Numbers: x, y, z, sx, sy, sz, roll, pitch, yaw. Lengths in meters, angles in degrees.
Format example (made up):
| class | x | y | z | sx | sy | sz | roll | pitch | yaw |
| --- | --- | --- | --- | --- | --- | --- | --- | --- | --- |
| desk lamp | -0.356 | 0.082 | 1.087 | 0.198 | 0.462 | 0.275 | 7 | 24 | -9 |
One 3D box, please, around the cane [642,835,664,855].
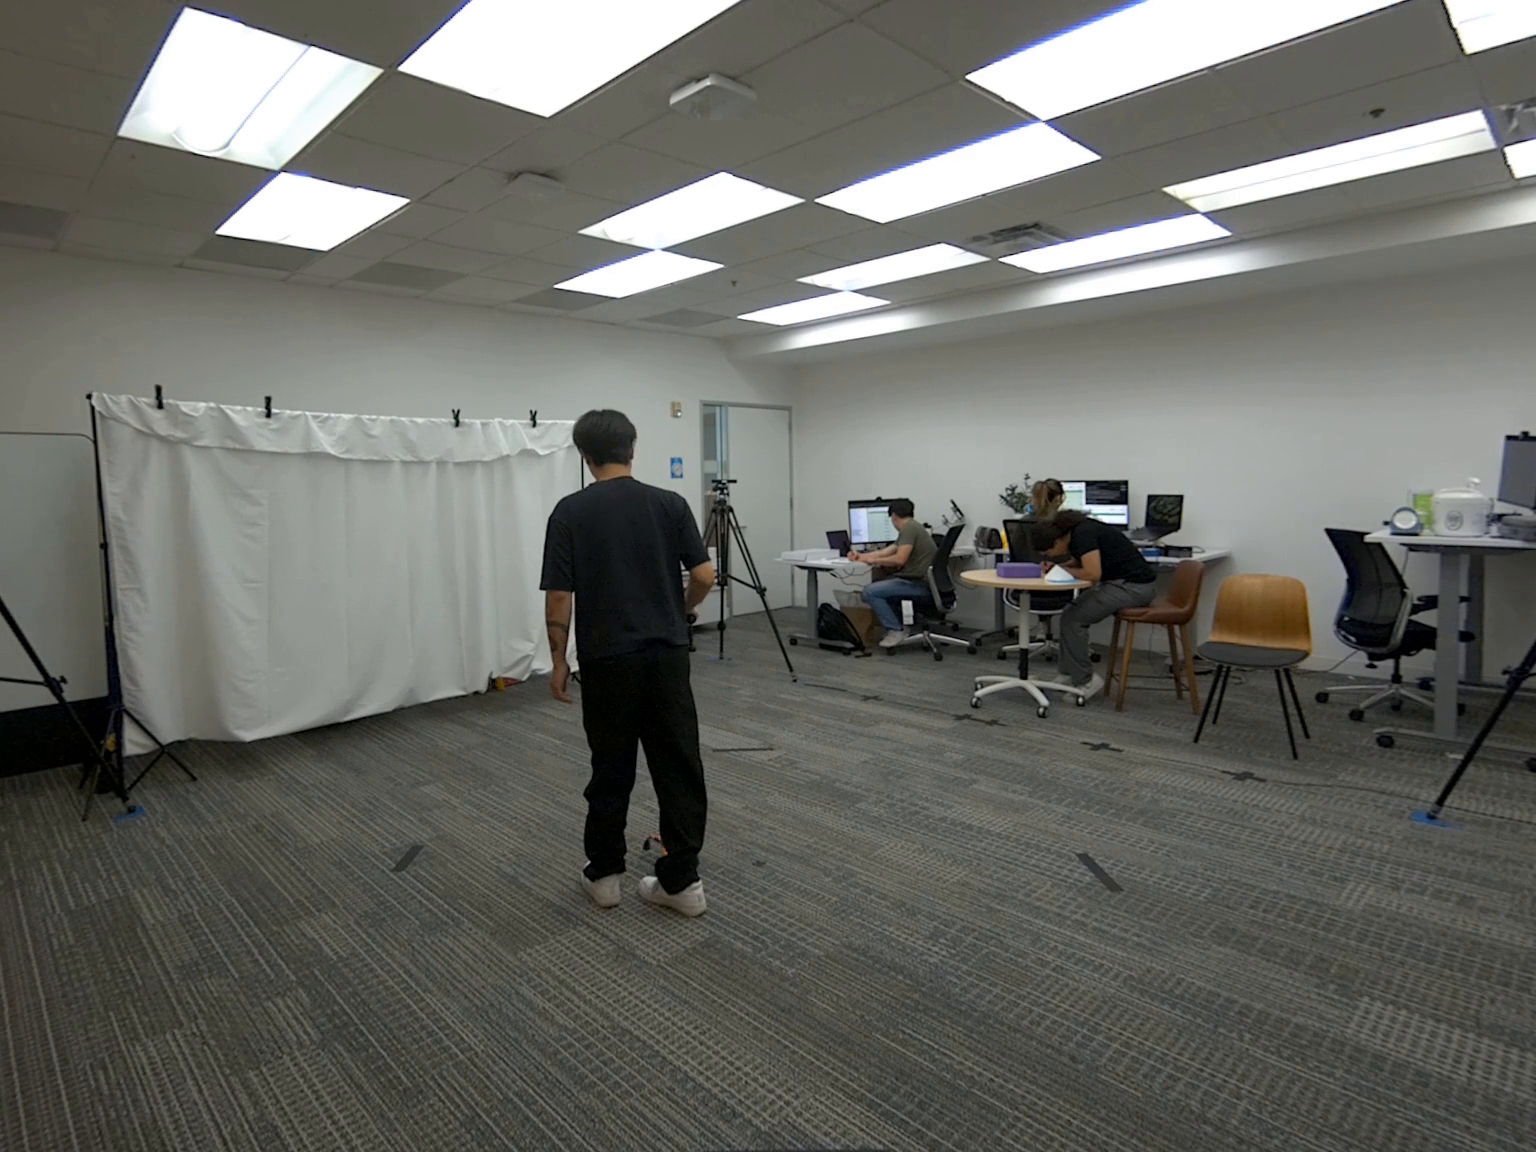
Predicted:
| class | x | y | z | sx | sy | sz | roll | pitch | yaw |
| --- | --- | --- | --- | --- | --- | --- | --- | --- | --- |
| cane | -0.324 | 0.587 | 3.133 | 0.147 | 0.906 | 0.212 | 2 | 3 | -32 |
